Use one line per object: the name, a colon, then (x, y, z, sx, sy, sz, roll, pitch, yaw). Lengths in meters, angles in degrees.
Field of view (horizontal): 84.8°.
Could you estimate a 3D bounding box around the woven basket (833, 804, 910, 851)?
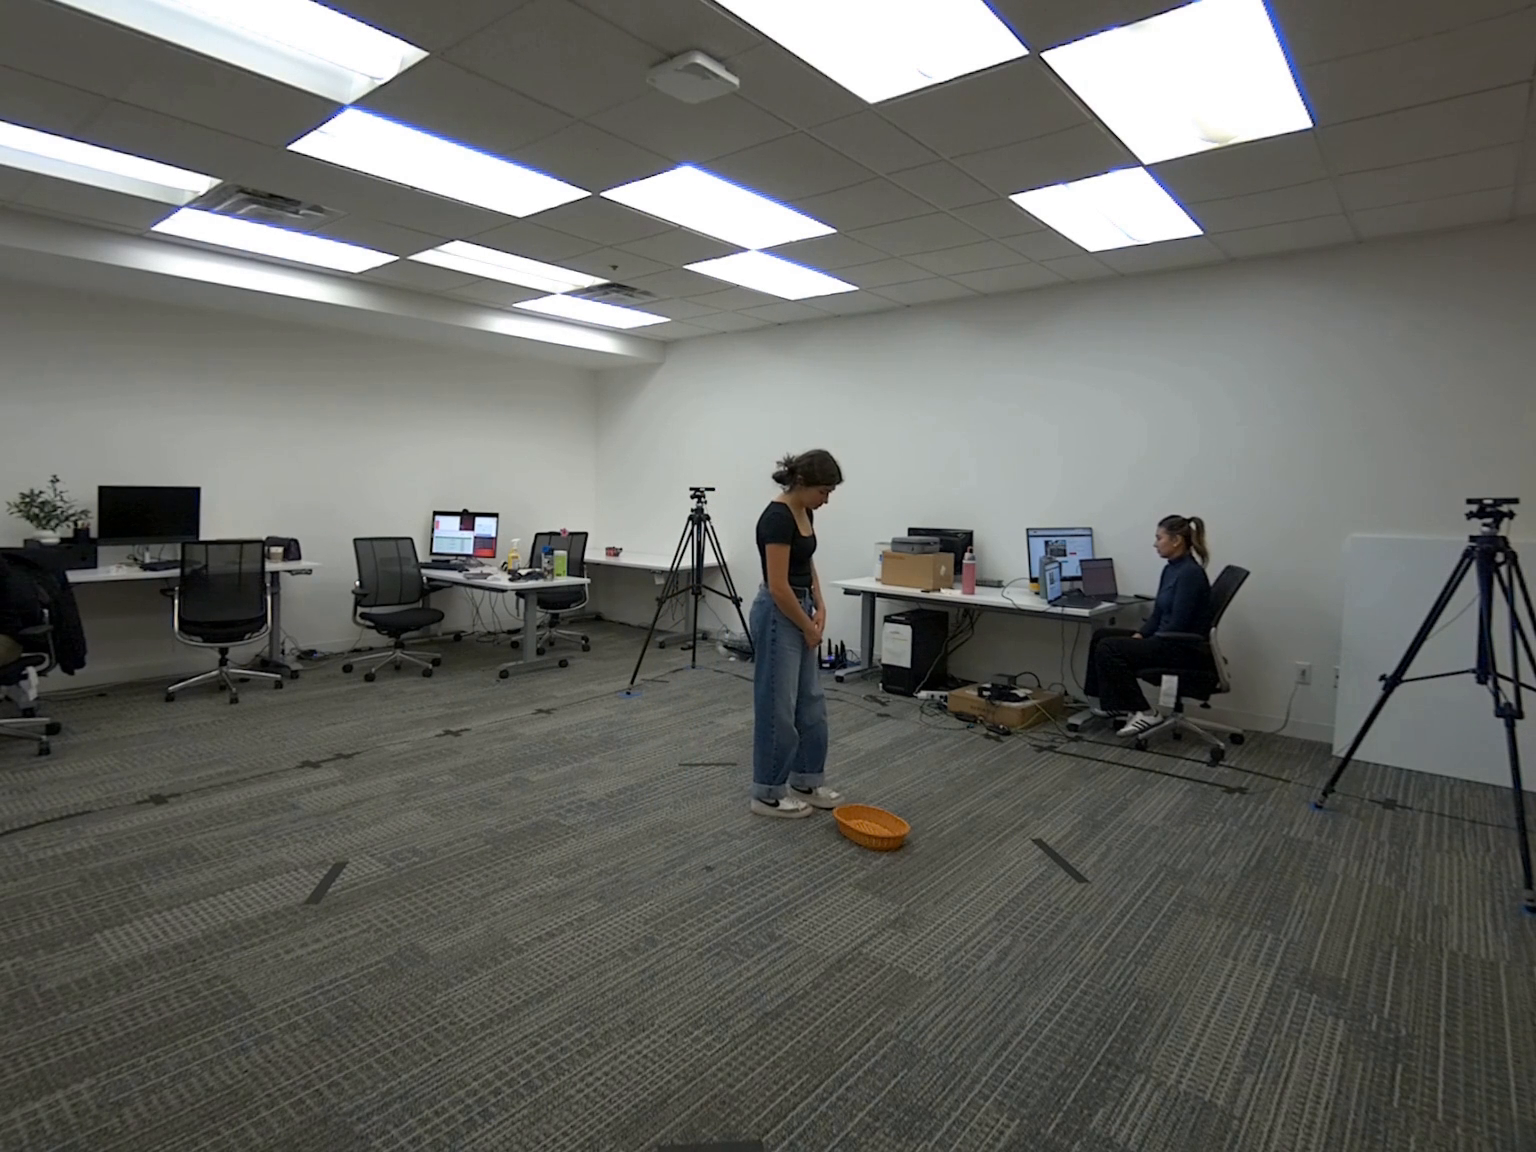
woven basket: (0.404, 1.005, 3.435, 0.246, 0.073, 0.361, 0, 5, -29)
